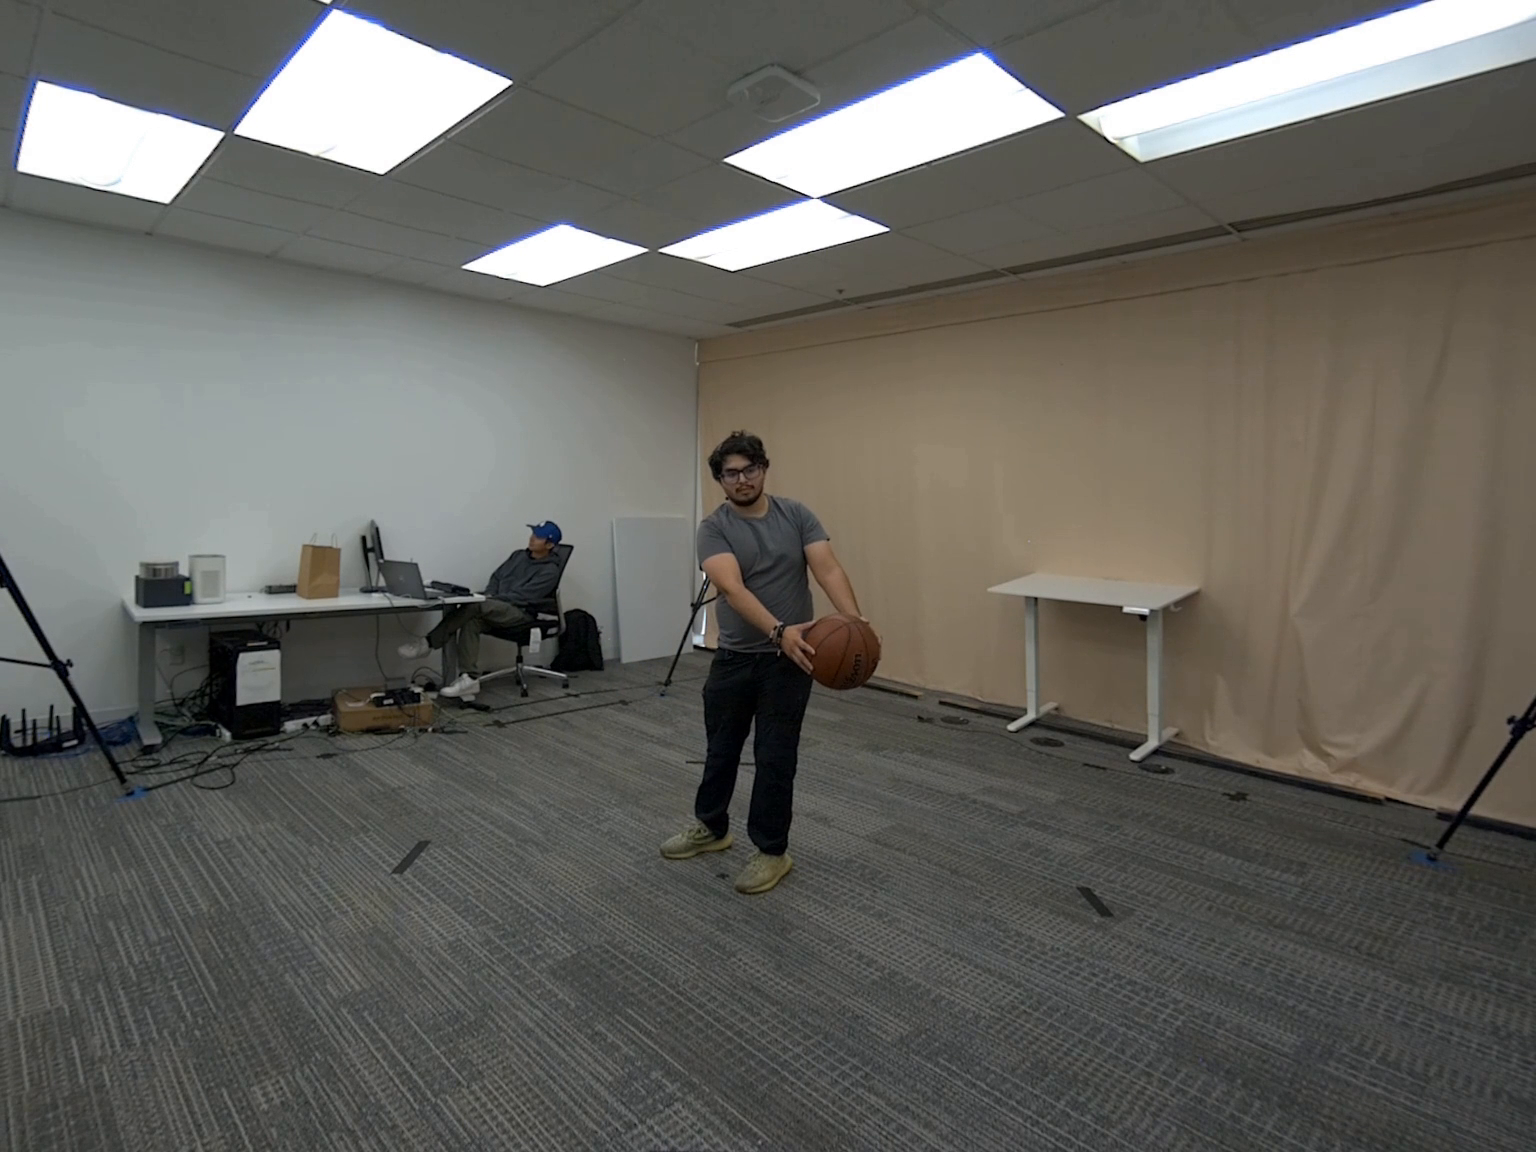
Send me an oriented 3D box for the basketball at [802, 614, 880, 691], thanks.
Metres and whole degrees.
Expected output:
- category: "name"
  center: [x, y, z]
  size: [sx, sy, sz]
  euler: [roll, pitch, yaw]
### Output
- category: "basketball"
  center: [0.223, 0.237, 2.607]
  size: [0.236, 0.235, 0.237]
  euler: [1, 4, -1]
